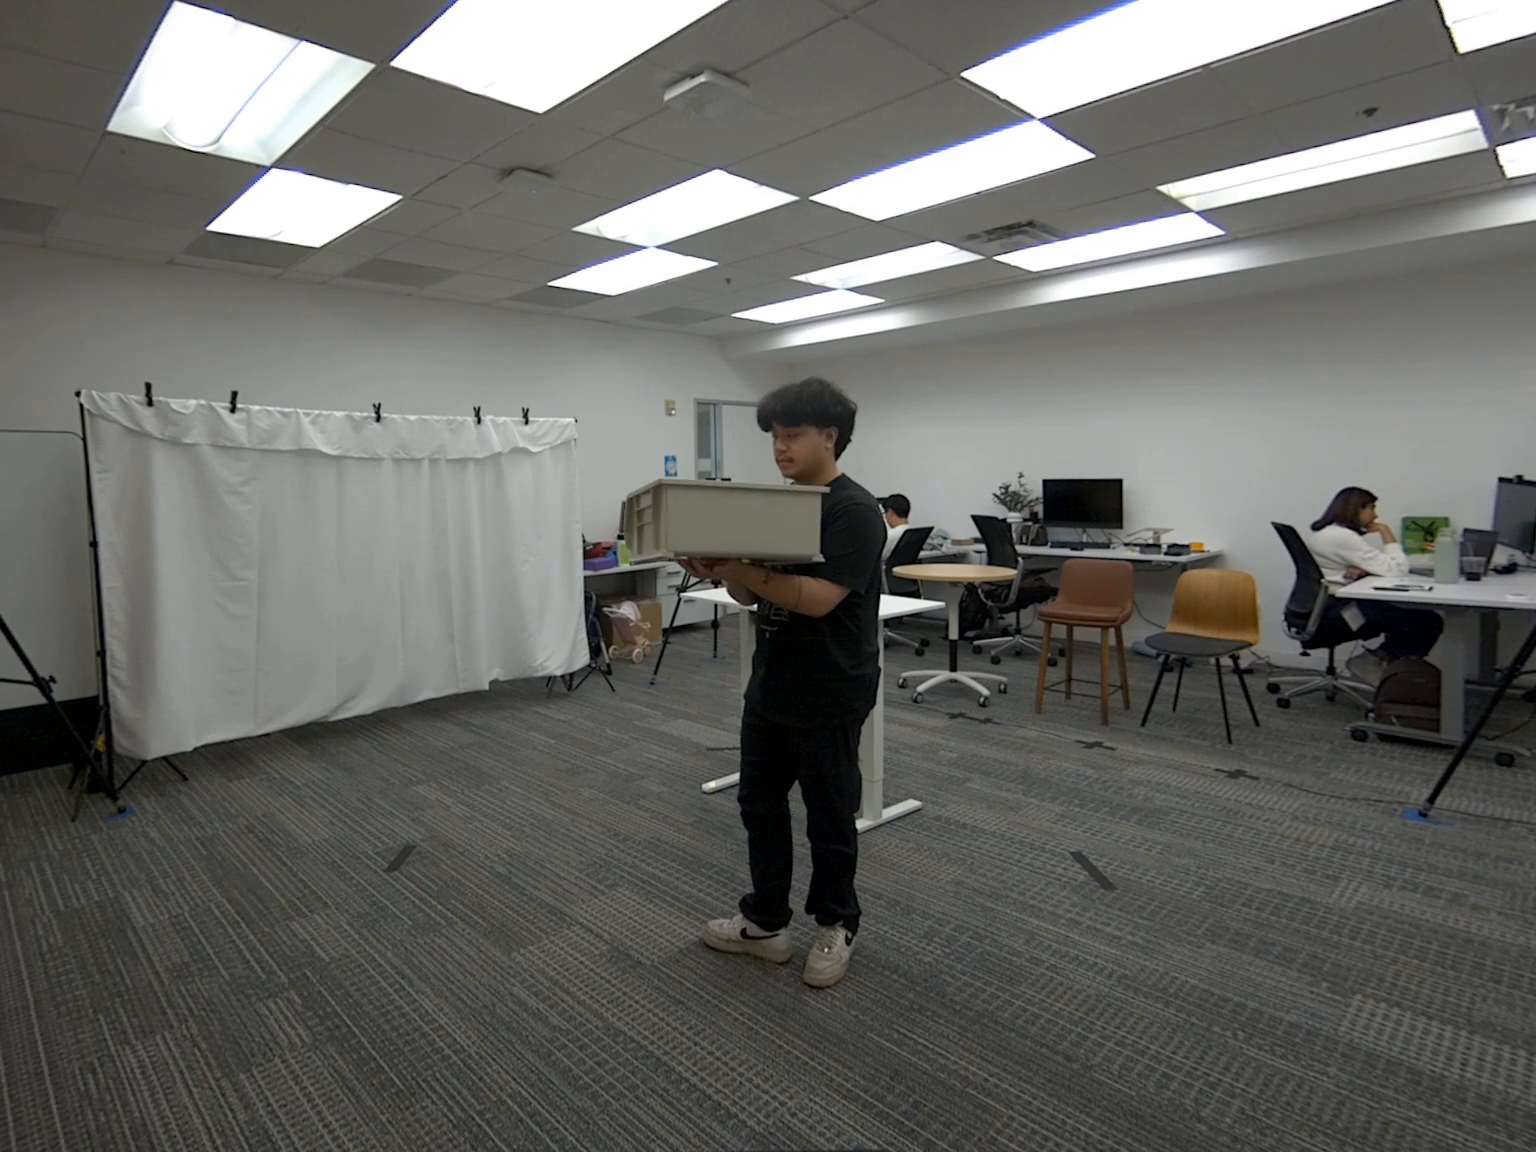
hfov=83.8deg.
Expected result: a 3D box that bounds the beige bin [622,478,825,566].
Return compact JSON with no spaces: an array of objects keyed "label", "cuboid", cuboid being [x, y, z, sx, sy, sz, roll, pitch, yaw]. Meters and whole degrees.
[{"label":"beige bin","cuboid":[-0.116,-0.121,2.149,0.414,0.189,0.384,1,-2,-22]}]
